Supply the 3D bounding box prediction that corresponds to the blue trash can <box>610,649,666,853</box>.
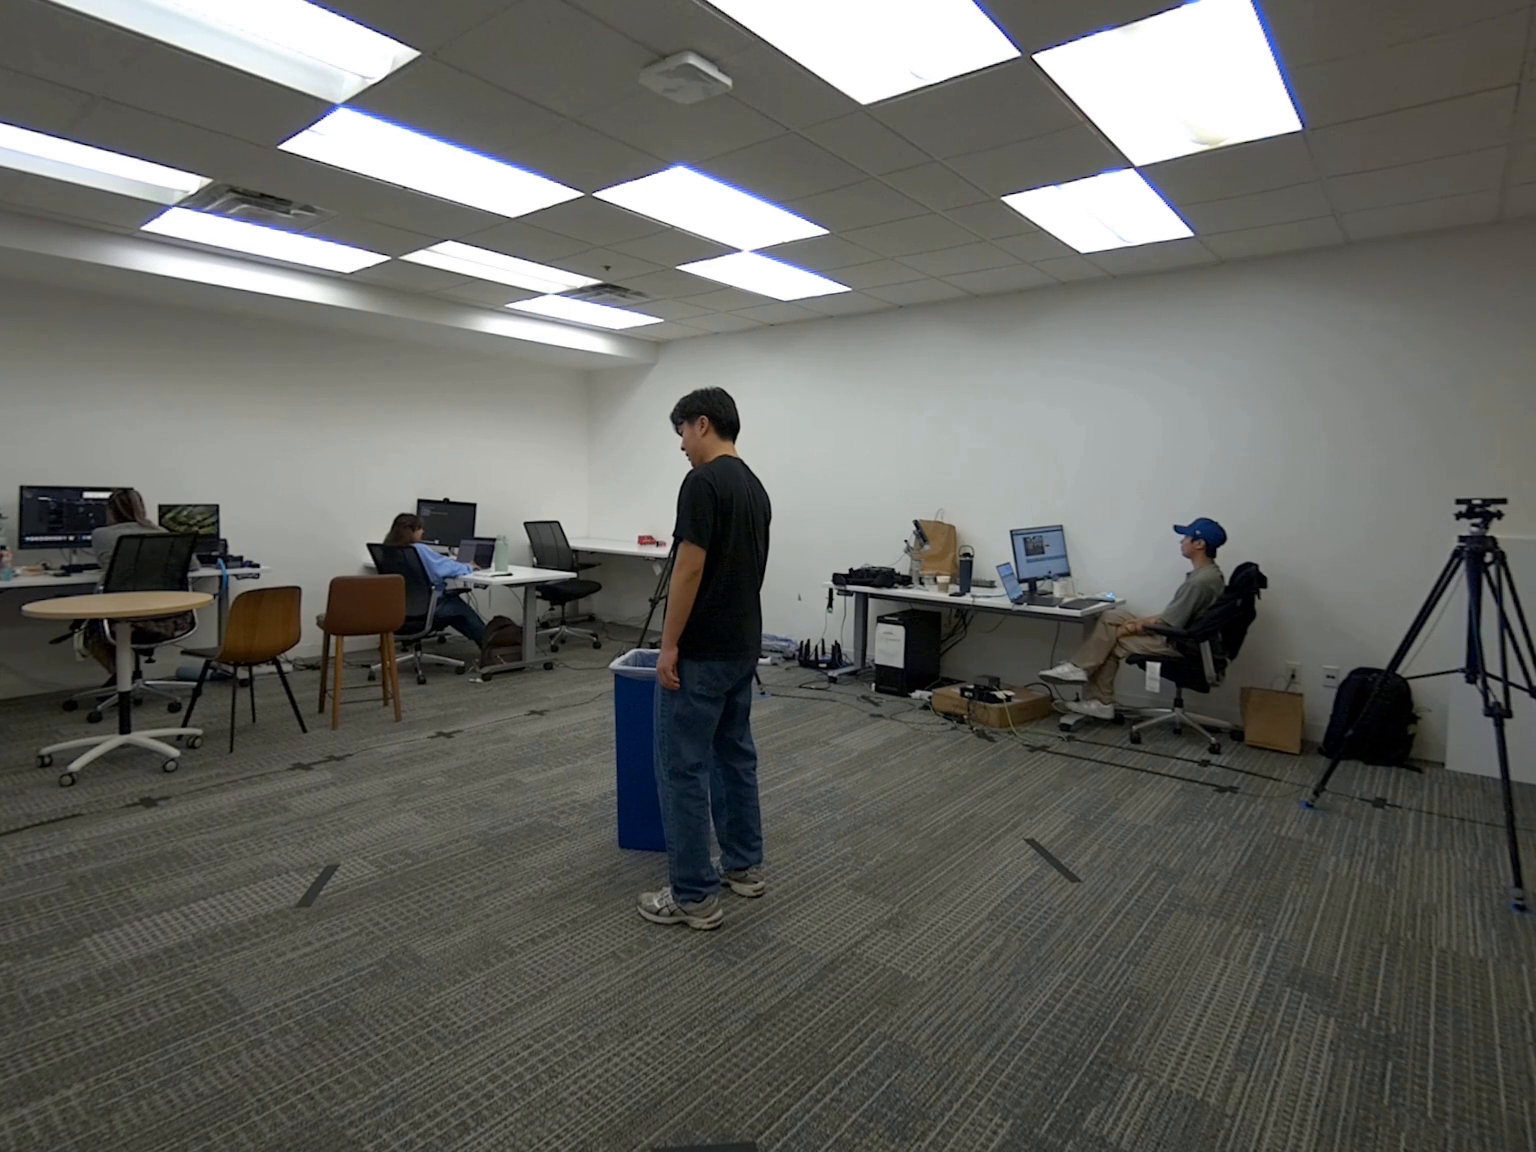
[{"bbox_3d":[-0.426,0.679,3.391,0.382,0.710,0.372,2,5,8],"label":"blue trash can"}]
